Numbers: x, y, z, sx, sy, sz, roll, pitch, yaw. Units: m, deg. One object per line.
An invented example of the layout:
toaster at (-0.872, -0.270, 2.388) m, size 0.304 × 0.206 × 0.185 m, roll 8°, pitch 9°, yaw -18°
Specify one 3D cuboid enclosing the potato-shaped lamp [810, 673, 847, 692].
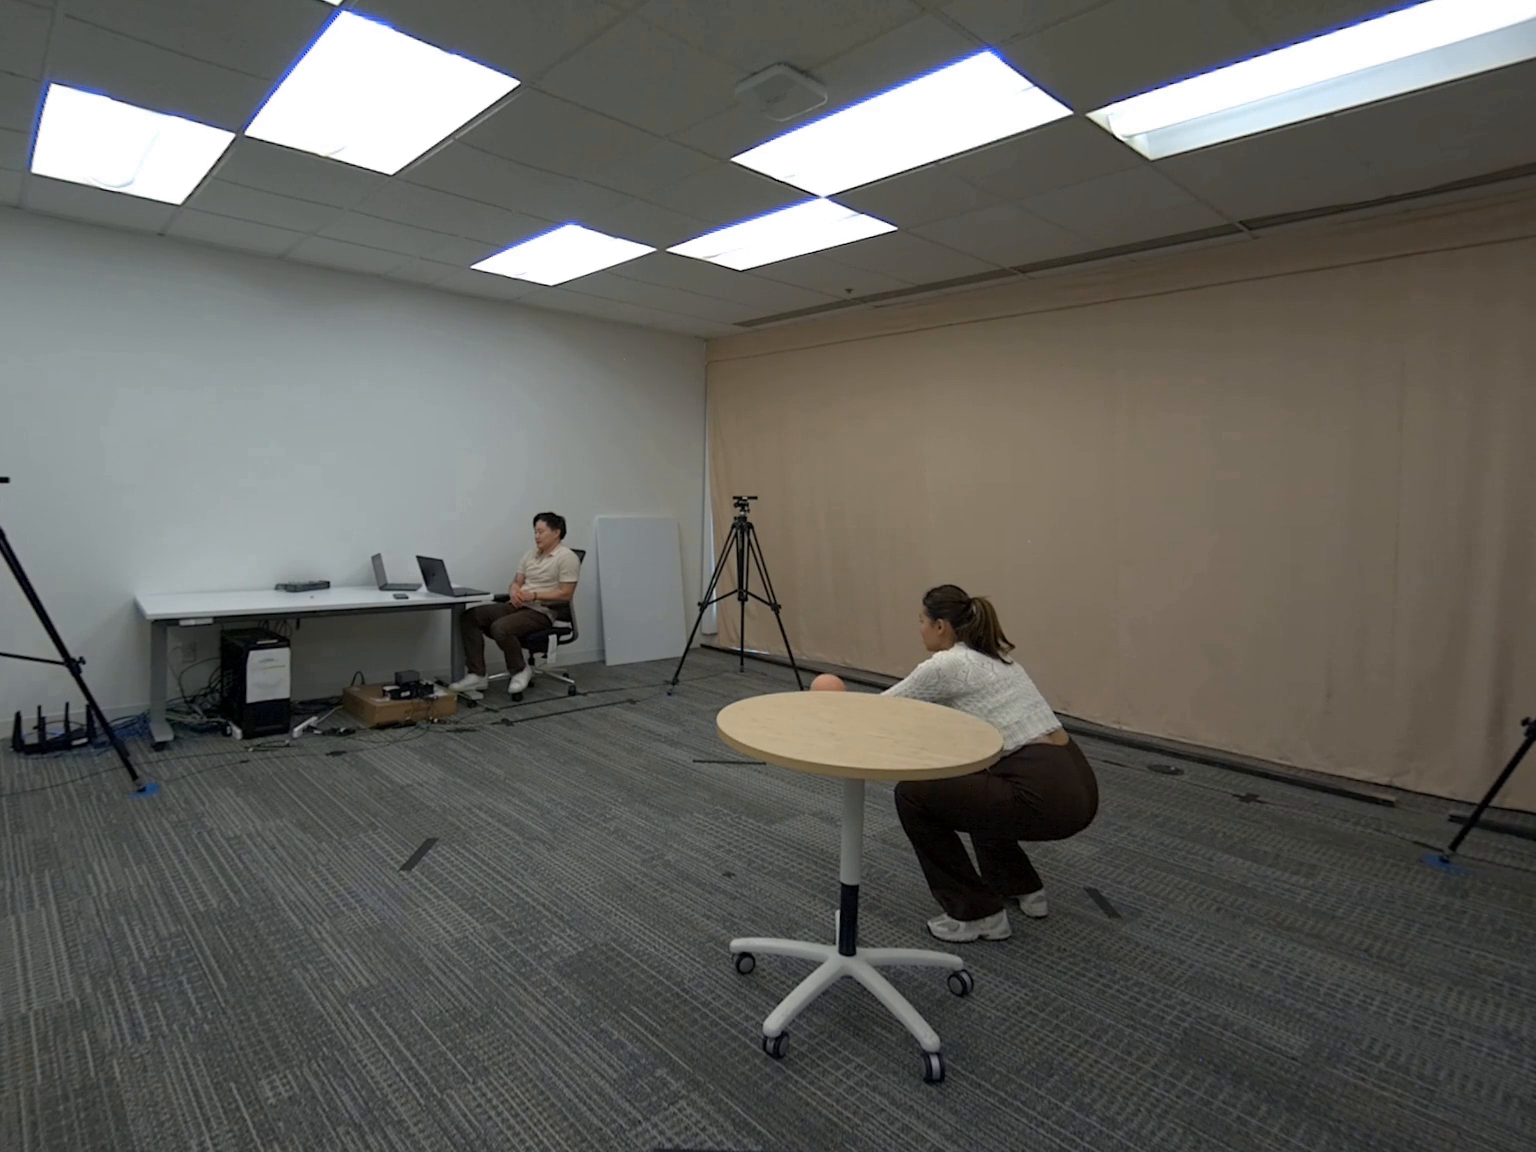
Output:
potato-shaped lamp at (0.222, 0.485, 3.292) m, size 0.161 × 0.197 × 0.175 m, roll -8°, pitch 4°, yaw -43°
